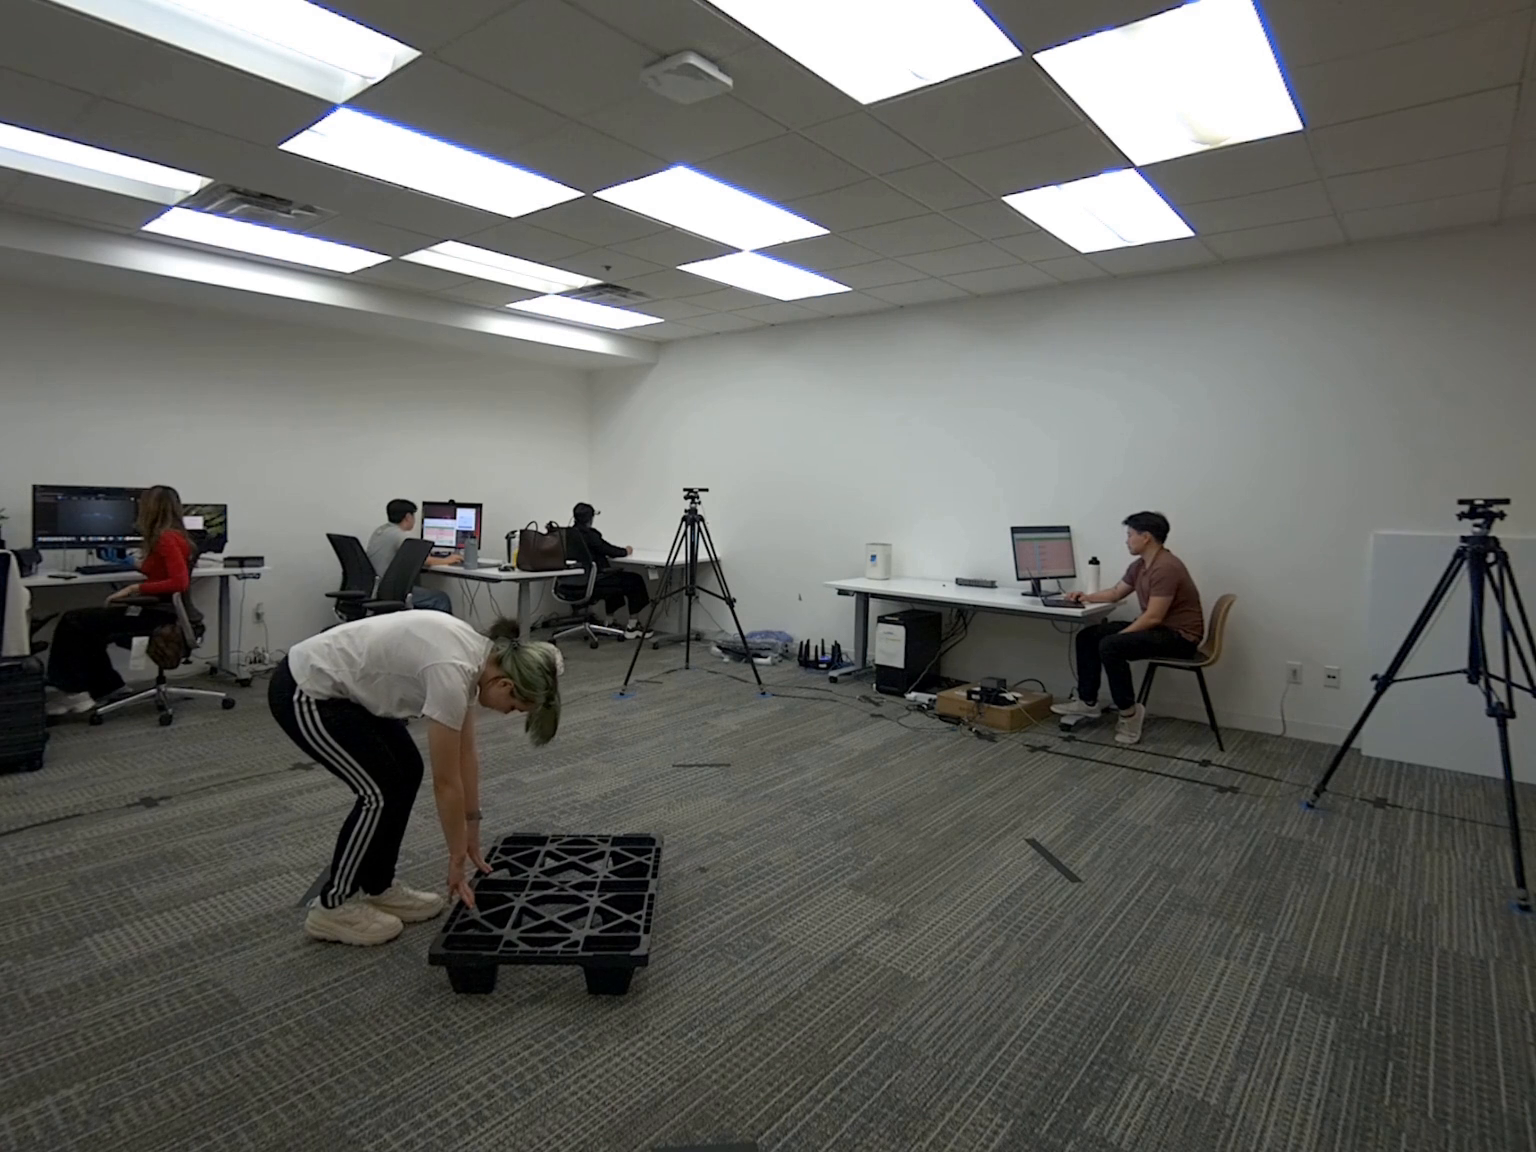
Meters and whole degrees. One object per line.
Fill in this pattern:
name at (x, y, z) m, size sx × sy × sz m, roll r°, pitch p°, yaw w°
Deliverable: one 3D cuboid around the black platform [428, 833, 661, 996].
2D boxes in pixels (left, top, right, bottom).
black platform at (-0.659, 1.036, 2.681) m, size 0.604 × 0.143 × 0.811 m, roll -1°, pitch 6°, yaw -3°
